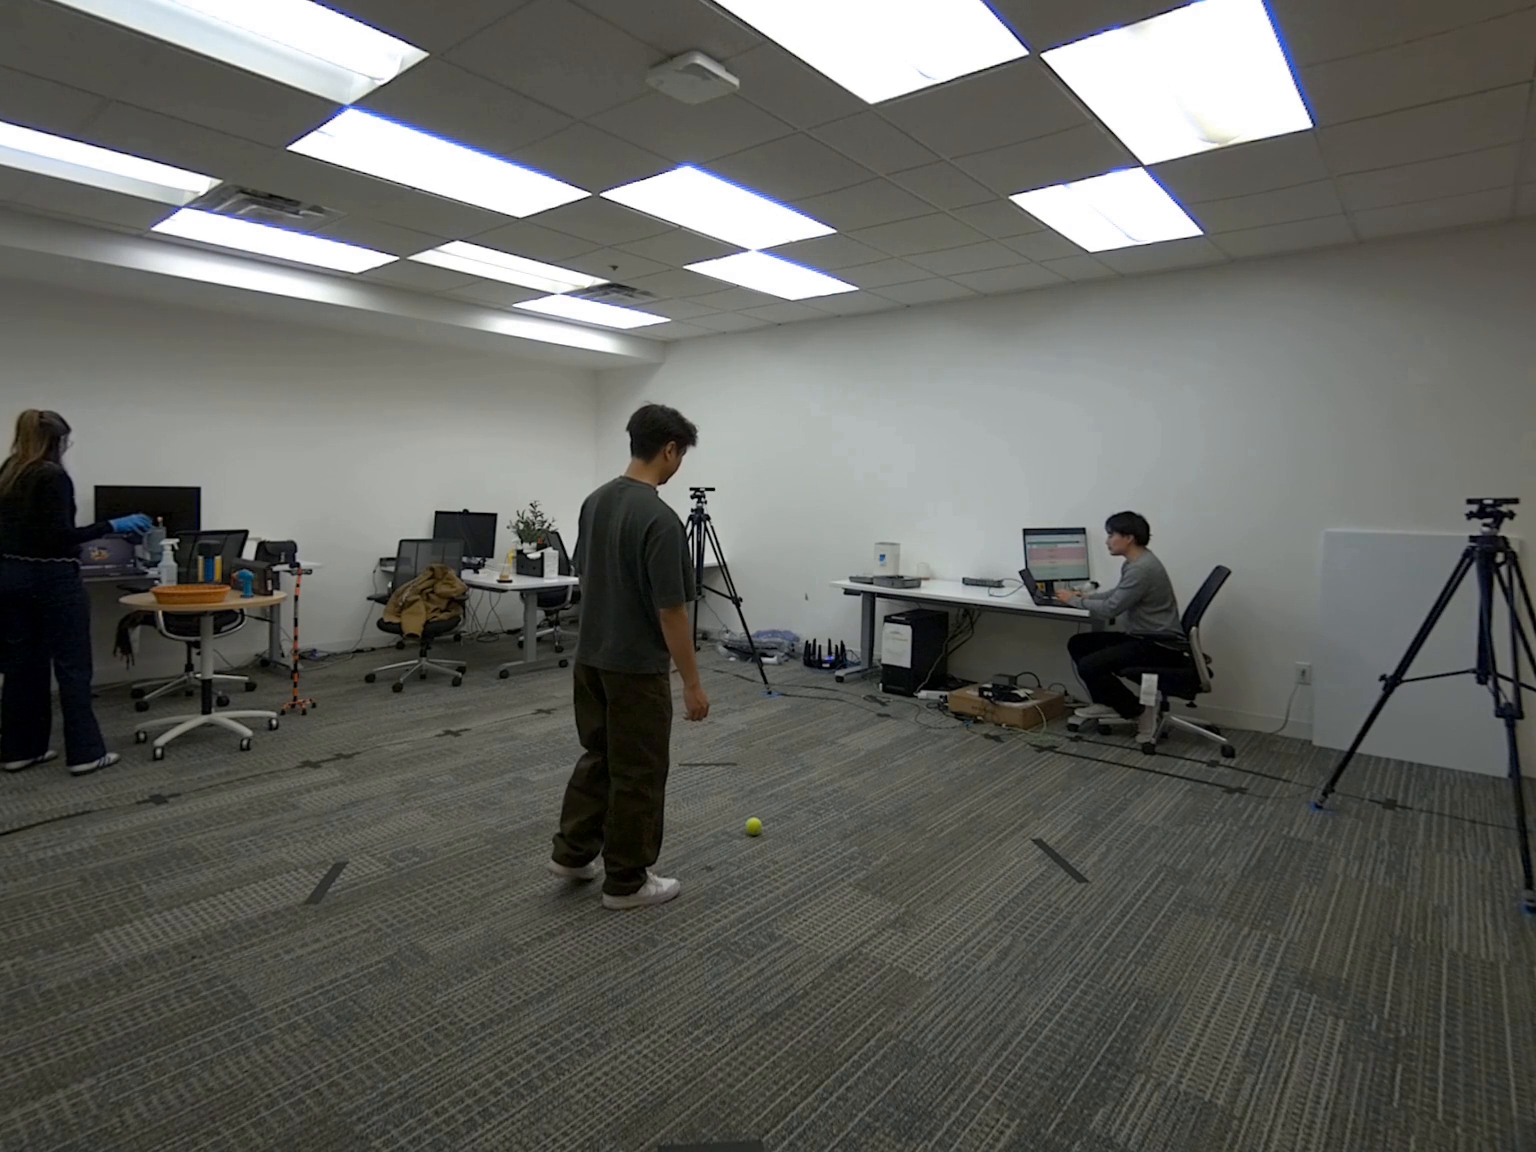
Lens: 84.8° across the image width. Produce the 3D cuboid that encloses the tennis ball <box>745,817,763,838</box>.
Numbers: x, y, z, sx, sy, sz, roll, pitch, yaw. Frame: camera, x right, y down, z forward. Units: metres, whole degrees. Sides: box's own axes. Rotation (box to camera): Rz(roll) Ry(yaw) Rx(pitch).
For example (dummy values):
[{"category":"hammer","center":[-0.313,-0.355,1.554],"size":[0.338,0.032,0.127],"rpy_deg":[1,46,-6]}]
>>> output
[{"category":"tennis ball","center":[-0.070,0.994,3.429],"size":[0.066,0.066,0.067],"rpy_deg":[1,4,-2]}]
